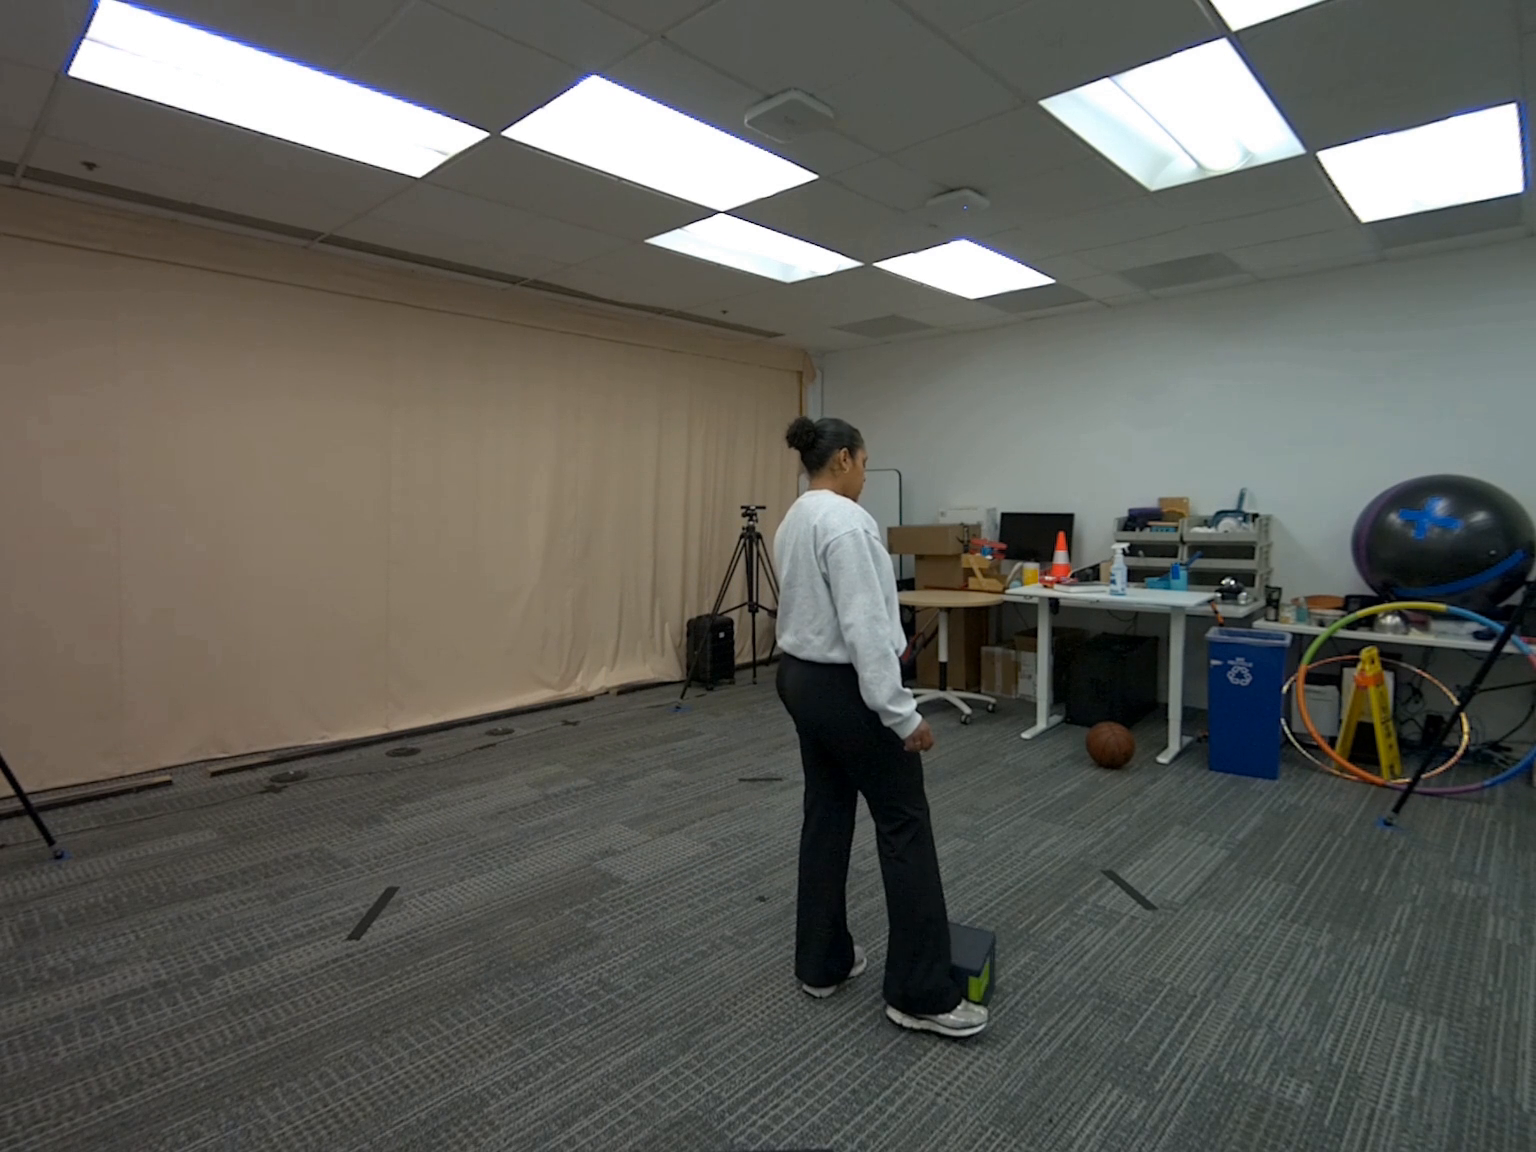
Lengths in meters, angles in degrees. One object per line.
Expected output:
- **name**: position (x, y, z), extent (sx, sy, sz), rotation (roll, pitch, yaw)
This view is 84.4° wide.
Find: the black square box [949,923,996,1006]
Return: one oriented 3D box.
- **black square box**: position (0.520, 1.113, 2.392), extent (0.223, 0.155, 0.222), rotation (3, 5, 27)
